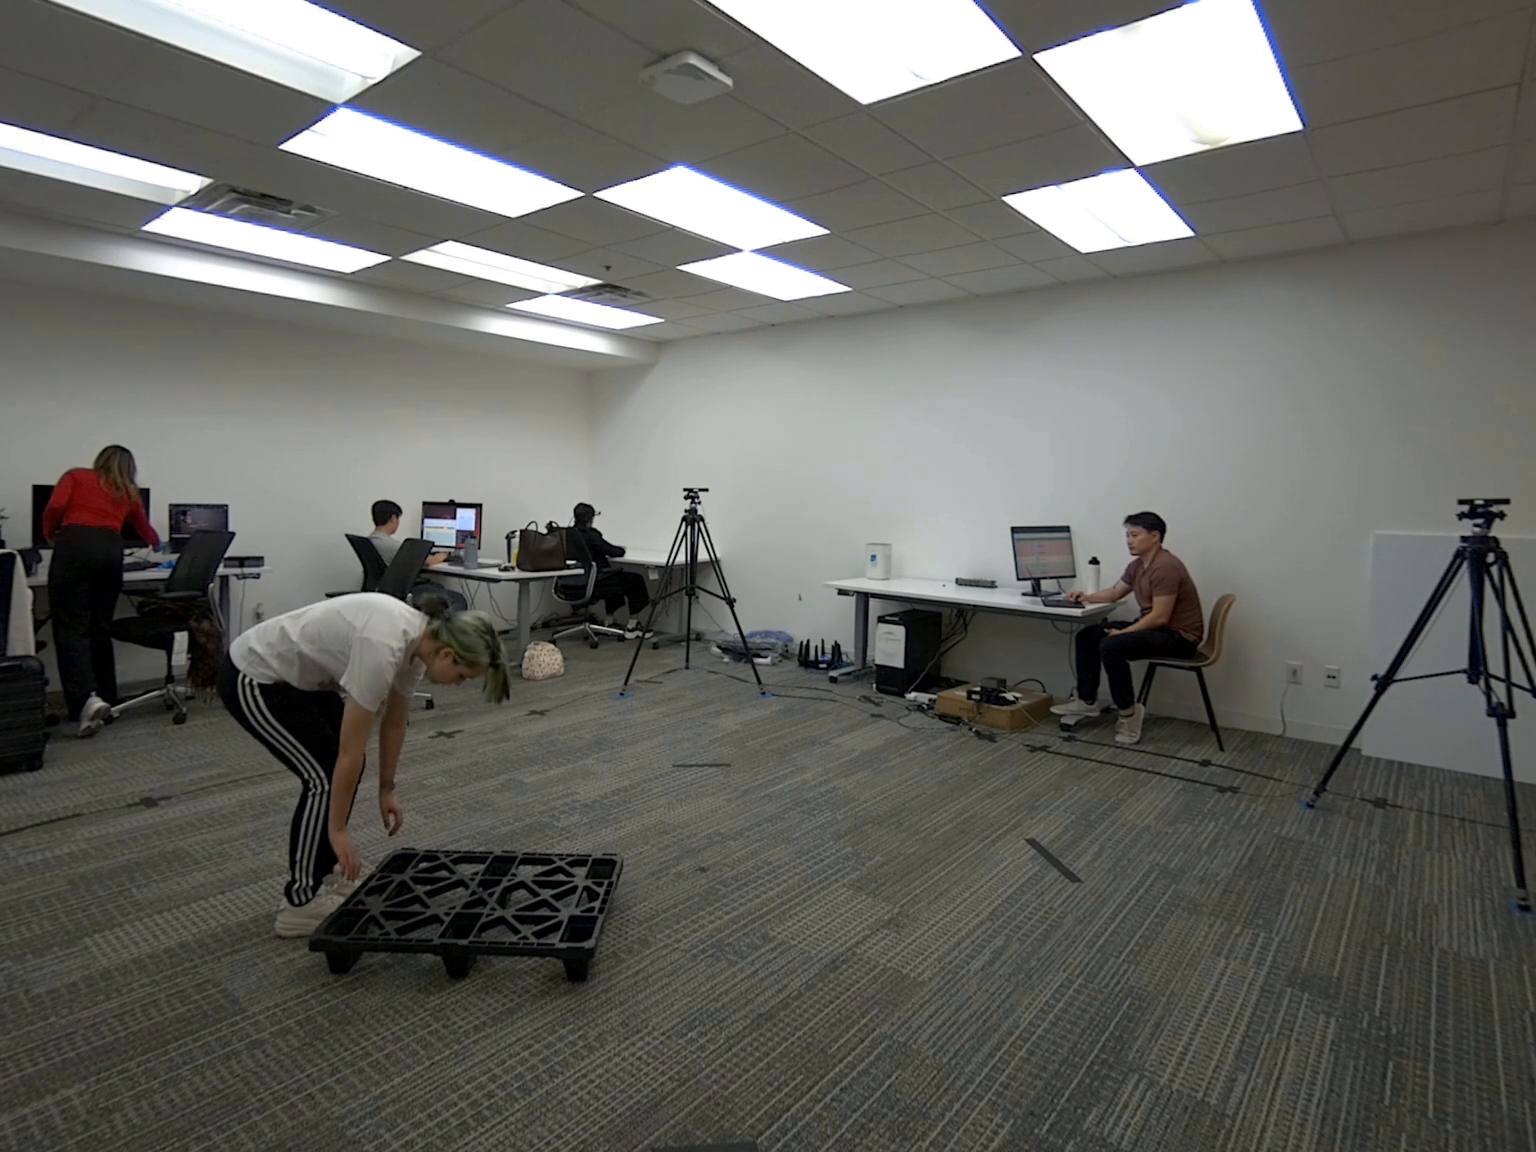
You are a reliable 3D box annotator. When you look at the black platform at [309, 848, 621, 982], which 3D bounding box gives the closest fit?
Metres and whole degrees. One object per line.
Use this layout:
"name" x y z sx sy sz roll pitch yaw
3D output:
"black platform" -0.891 1.039 2.623 0.807 0.142 0.607 1 7 1
